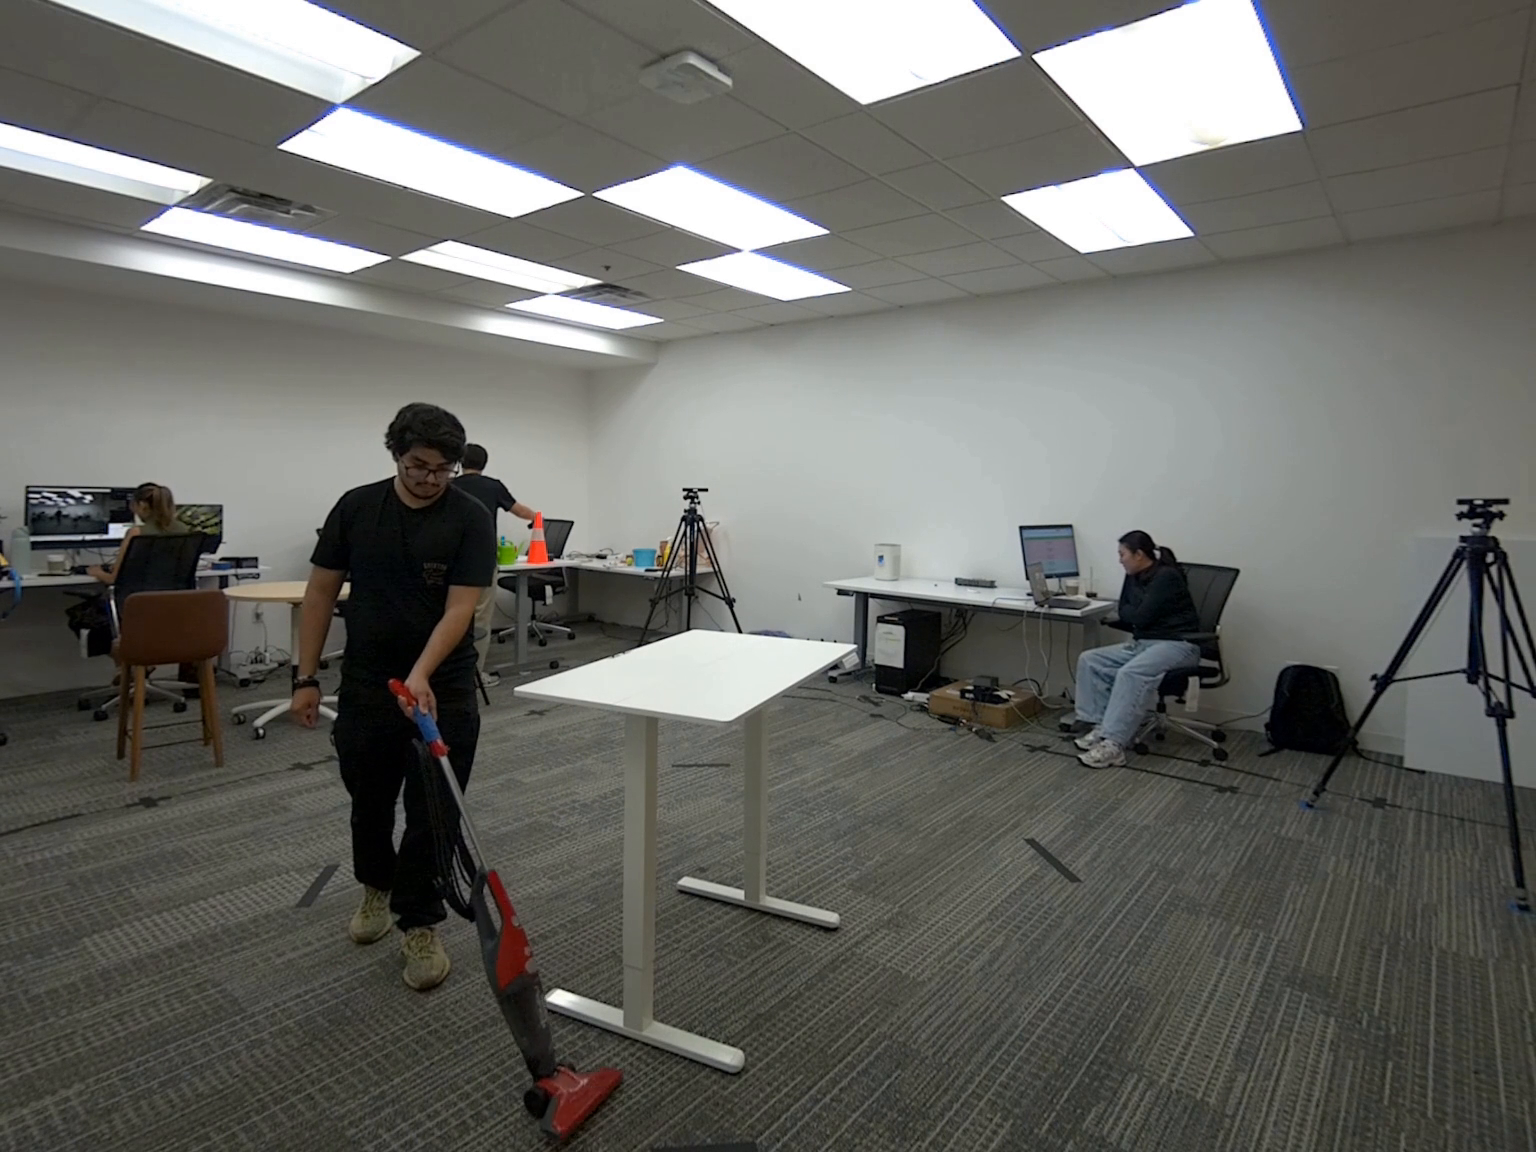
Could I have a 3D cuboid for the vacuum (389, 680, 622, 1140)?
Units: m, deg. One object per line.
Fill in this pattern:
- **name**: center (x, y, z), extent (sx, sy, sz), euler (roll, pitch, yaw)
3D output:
- **vacuum**: center (-0.711, 0.727, 2.043), extent (0.145, 1.071, 0.246), euler (-37, -16, 21)
